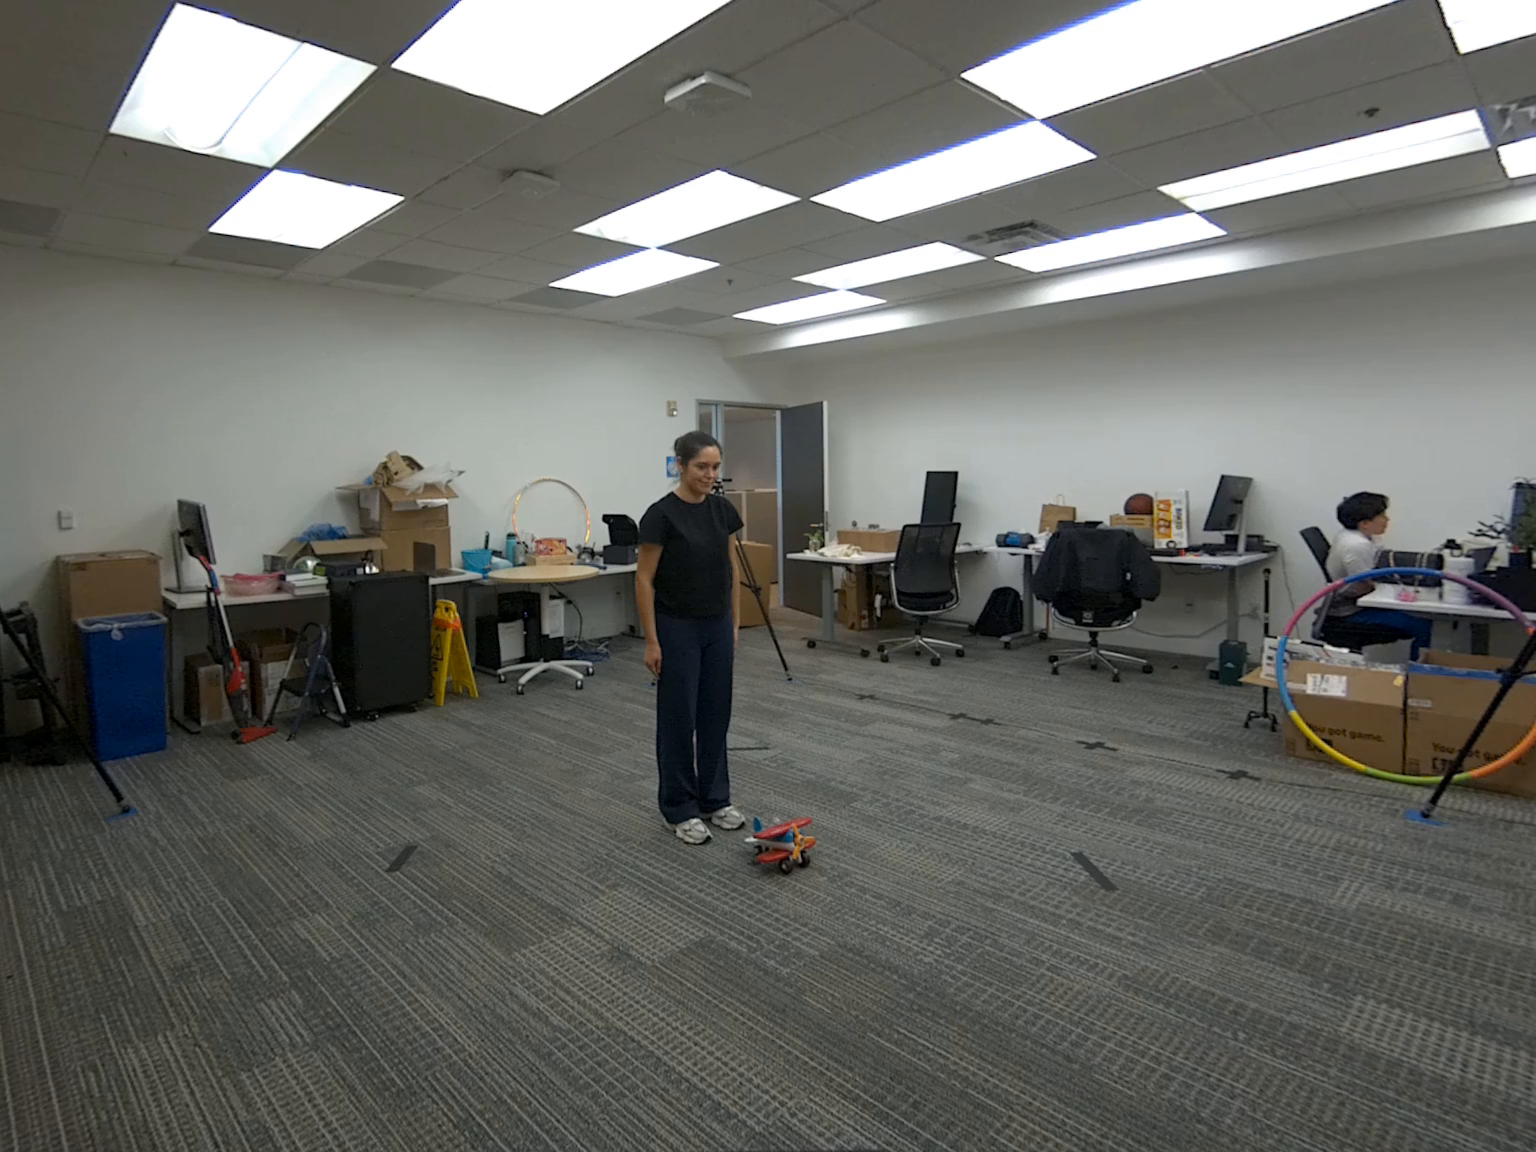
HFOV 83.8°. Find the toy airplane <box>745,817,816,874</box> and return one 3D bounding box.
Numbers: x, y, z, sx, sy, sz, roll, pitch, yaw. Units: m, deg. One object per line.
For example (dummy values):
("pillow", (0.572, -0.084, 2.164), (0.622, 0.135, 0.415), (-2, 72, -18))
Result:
("toy airplane", (0.024, 0.966, 3.110), (0.265, 0.156, 0.247), (3, 6, 21))
